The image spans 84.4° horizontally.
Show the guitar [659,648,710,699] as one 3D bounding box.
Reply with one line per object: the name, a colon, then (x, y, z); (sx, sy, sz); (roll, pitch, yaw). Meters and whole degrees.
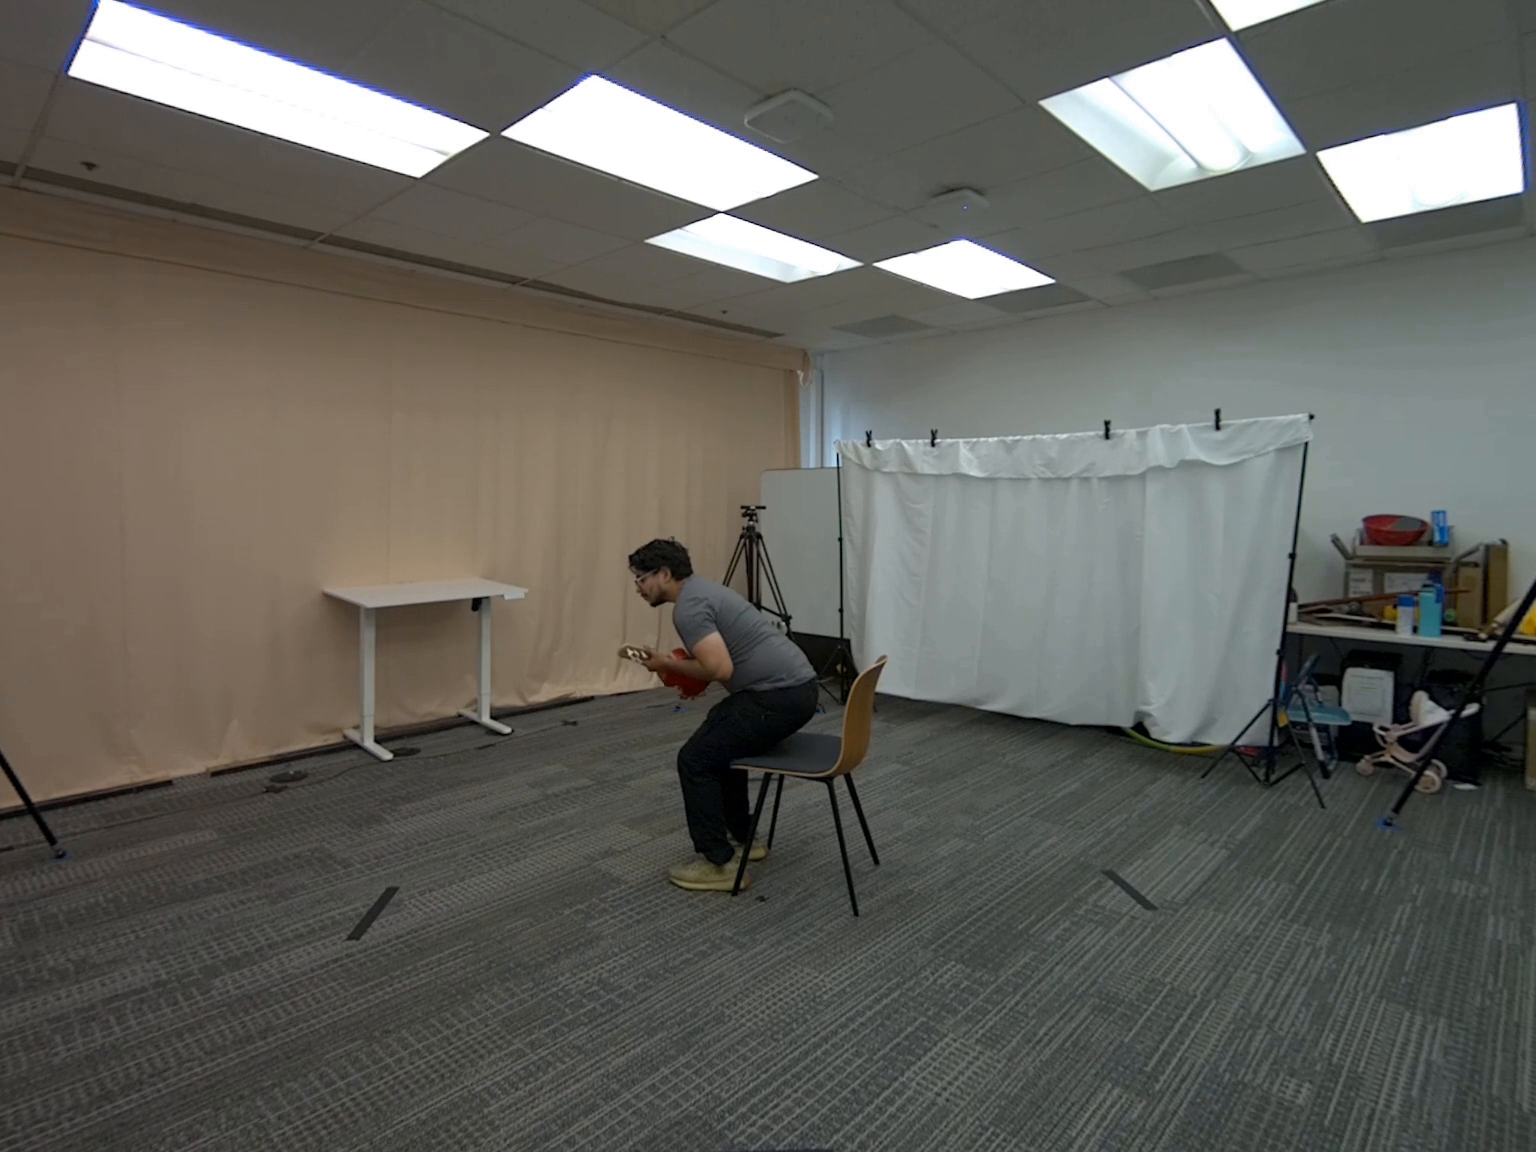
guitar: (-0.389, 0.353, 3.193); (0.480, 0.193, 0.073); (11, 25, -47)
